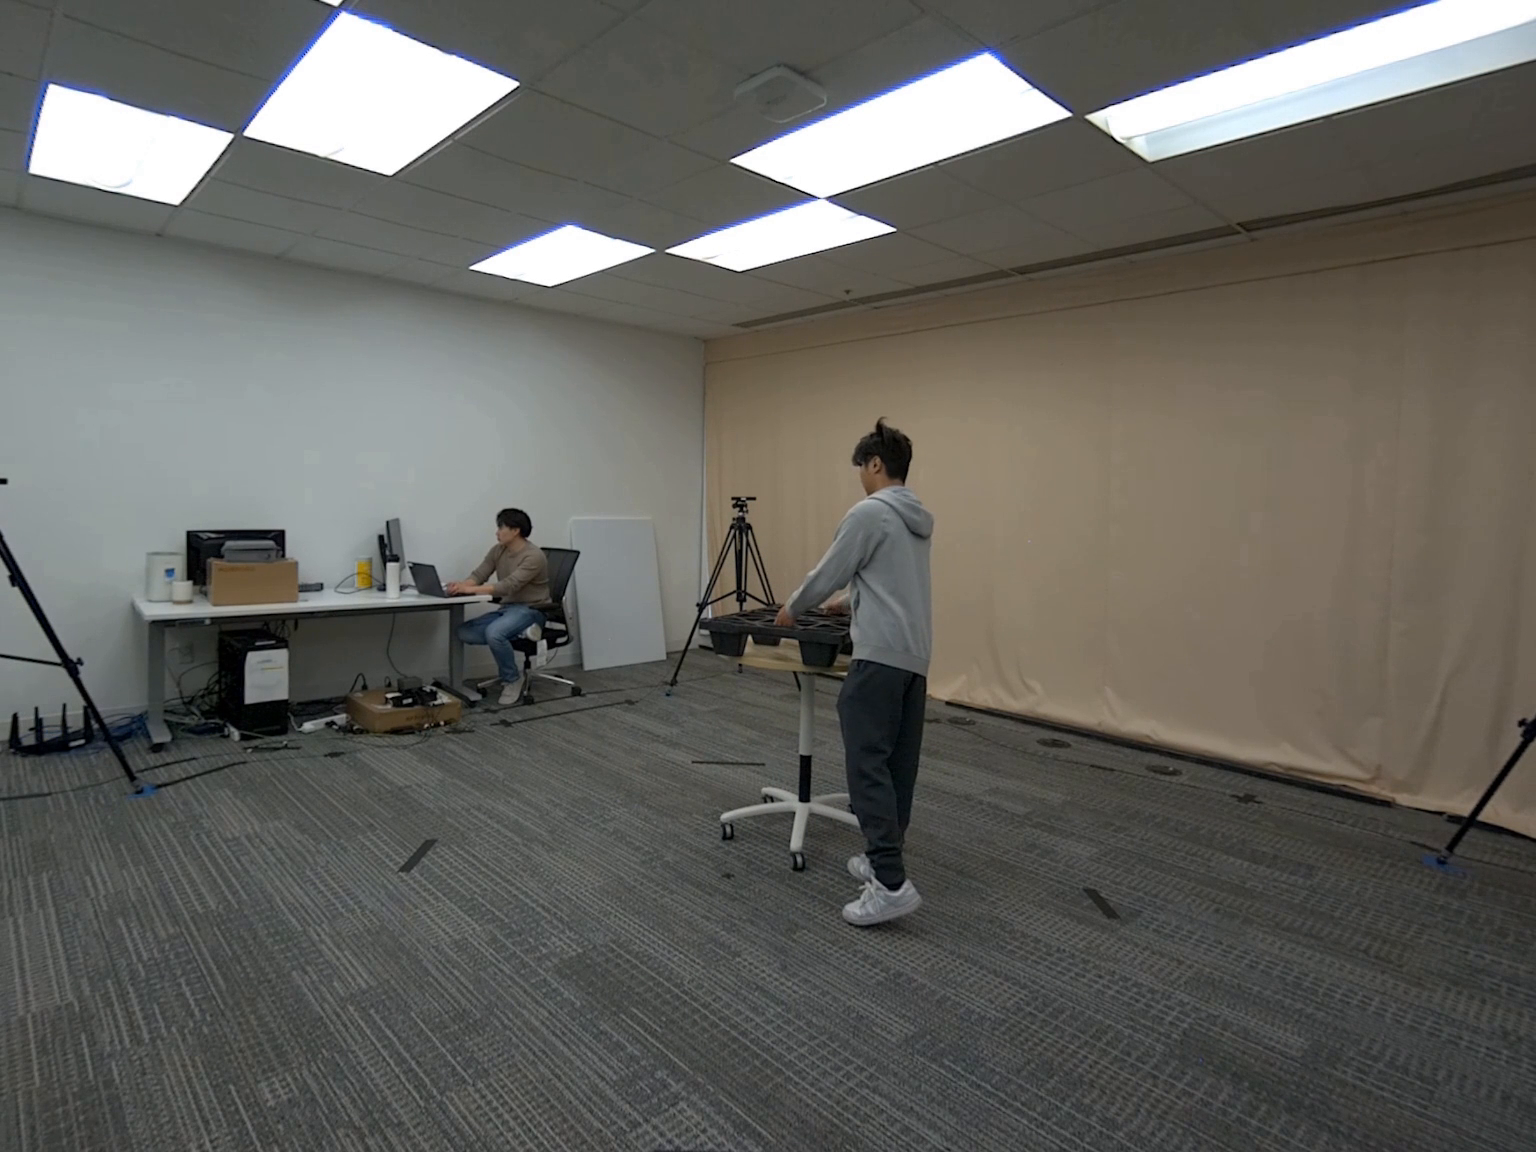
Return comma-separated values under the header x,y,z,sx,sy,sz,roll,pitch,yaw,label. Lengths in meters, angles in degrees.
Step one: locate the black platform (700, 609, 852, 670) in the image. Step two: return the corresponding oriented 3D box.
x,y,z,sx,sy,sz,roll,pitch,yaw,label
0.166,0.235,3.475,0.618,0.143,0.791,5,6,26,black platform
